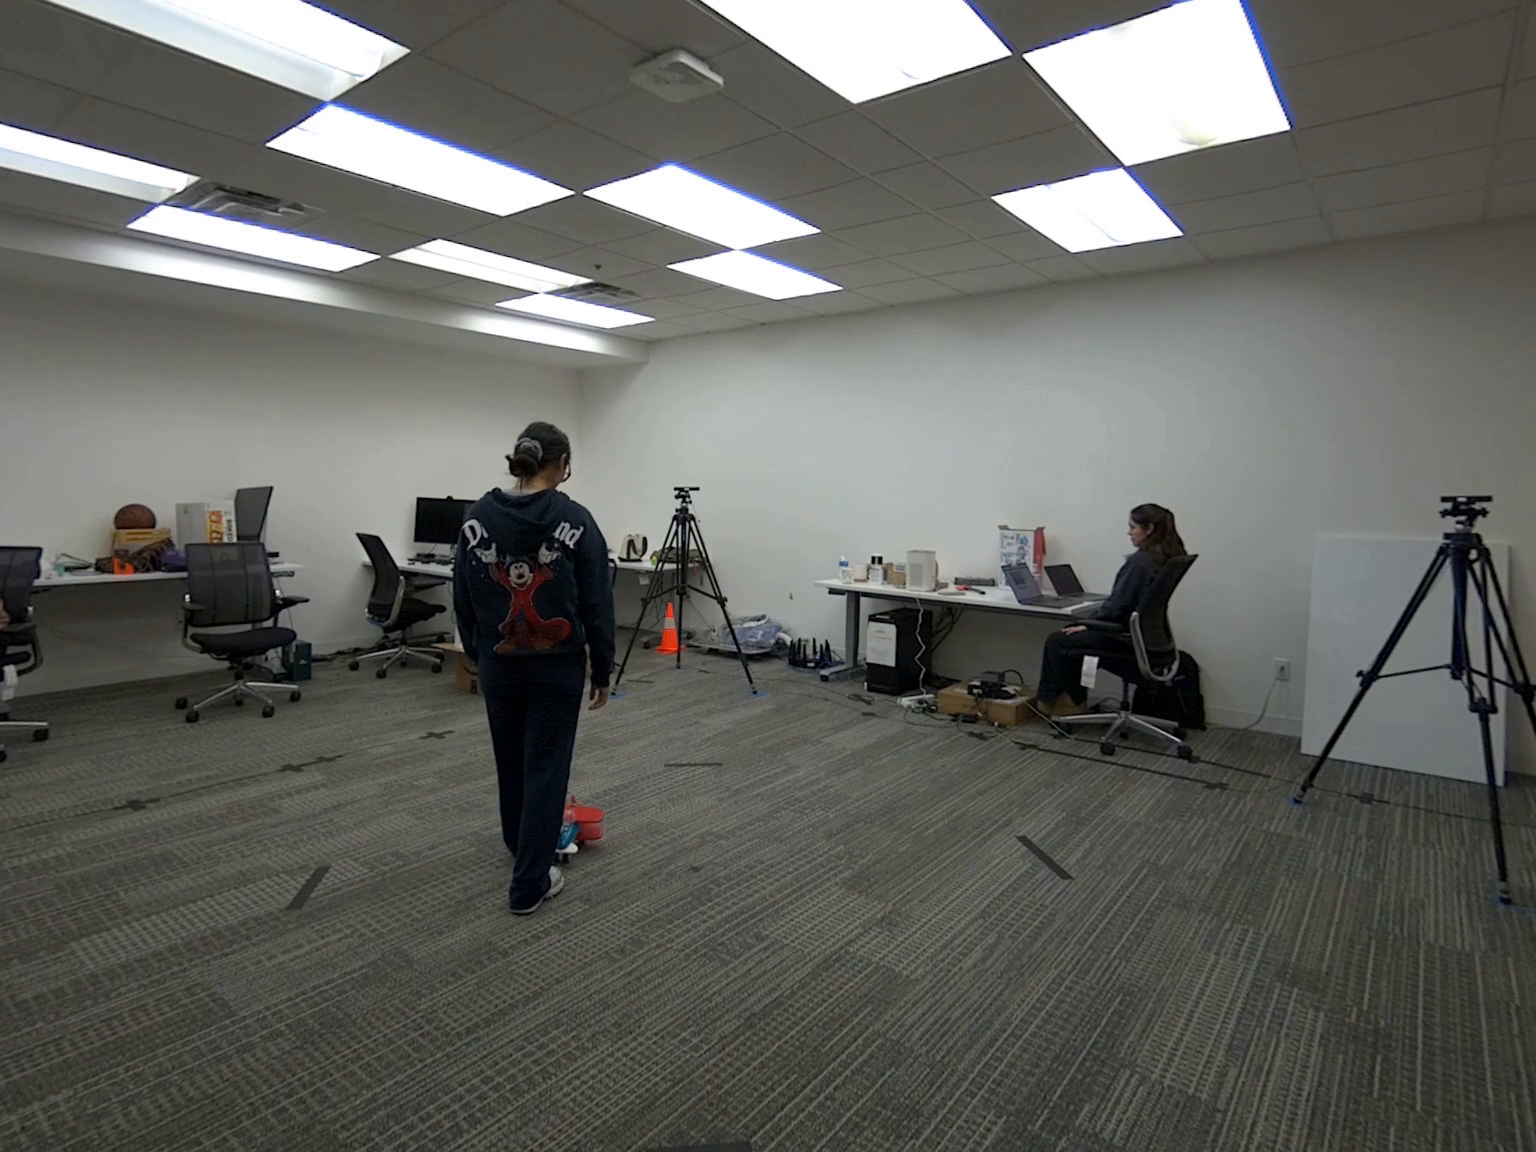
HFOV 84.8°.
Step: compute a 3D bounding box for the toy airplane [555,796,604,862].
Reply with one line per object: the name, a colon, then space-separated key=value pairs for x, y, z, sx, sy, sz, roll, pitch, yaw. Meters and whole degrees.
toy airplane: x=-0.754 y=0.971 z=3.233 sx=0.244 sy=0.156 sz=0.268 roll=-1 pitch=7 yaw=-31
